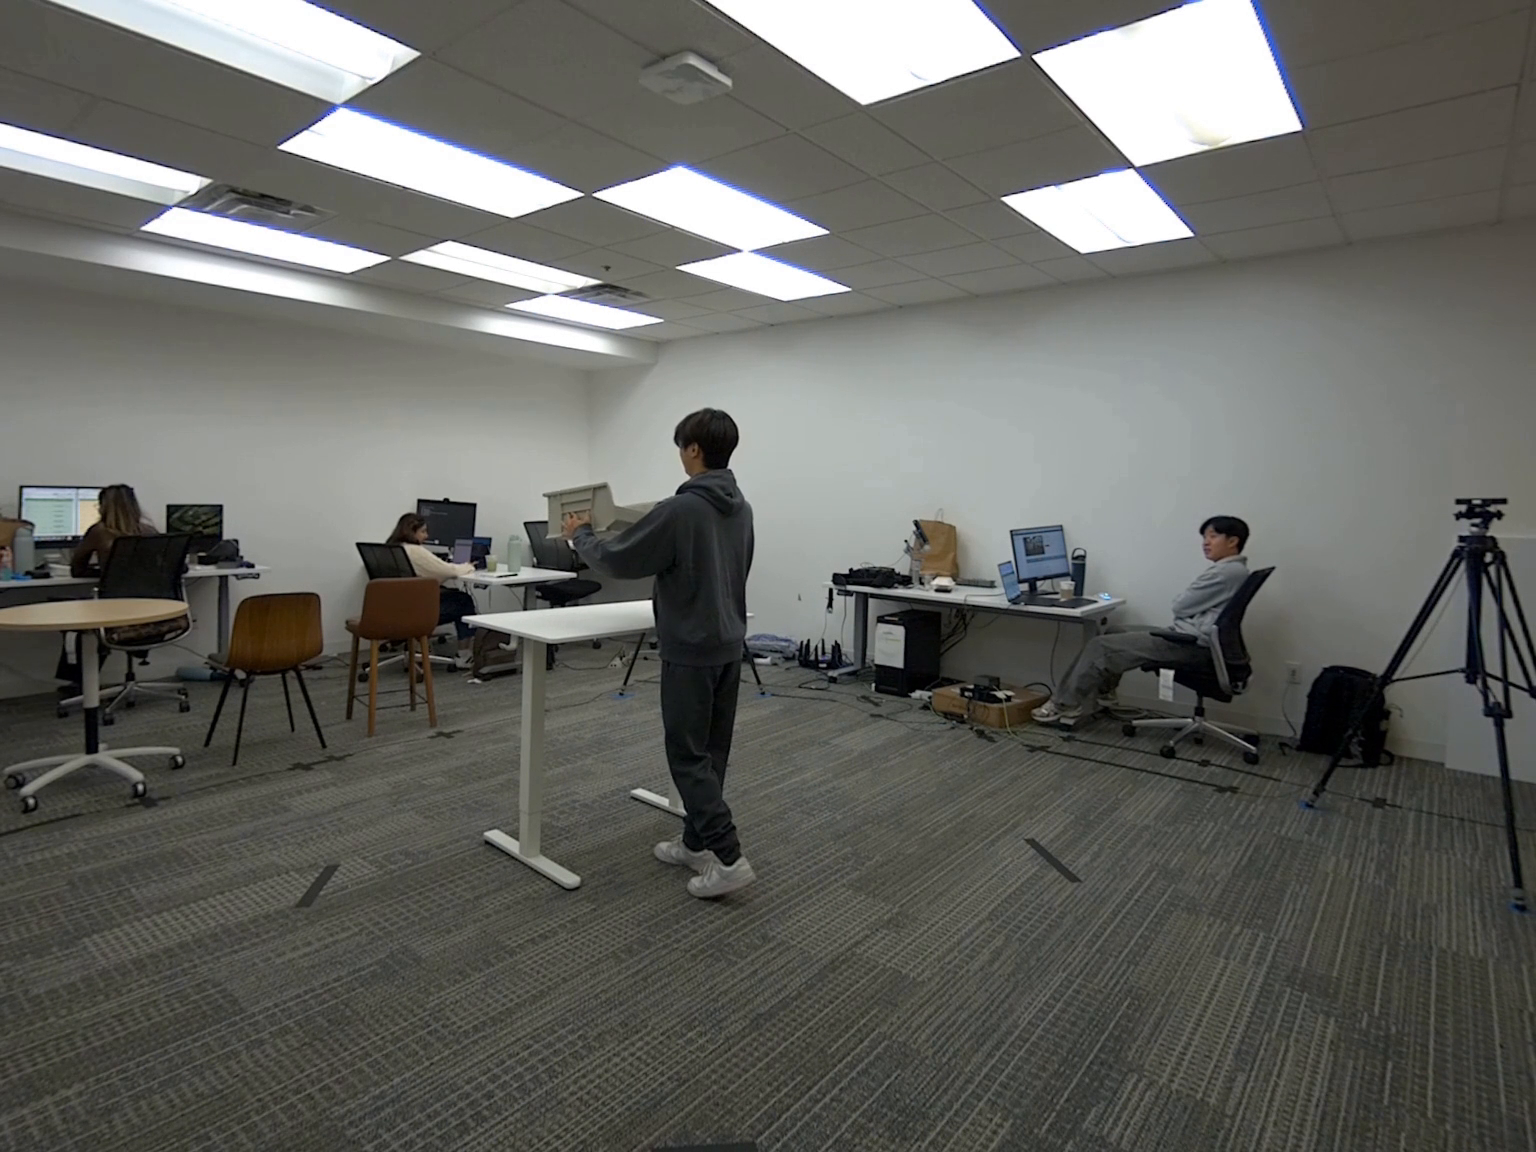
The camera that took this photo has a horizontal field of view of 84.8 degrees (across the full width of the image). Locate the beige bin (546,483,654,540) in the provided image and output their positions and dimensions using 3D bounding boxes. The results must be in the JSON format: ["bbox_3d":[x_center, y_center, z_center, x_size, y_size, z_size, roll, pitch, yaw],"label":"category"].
[{"bbox_3d":[-0.609,-0.234,3.343,0.387,0.190,0.408,-5,-6,34],"label":"beige bin"}]
